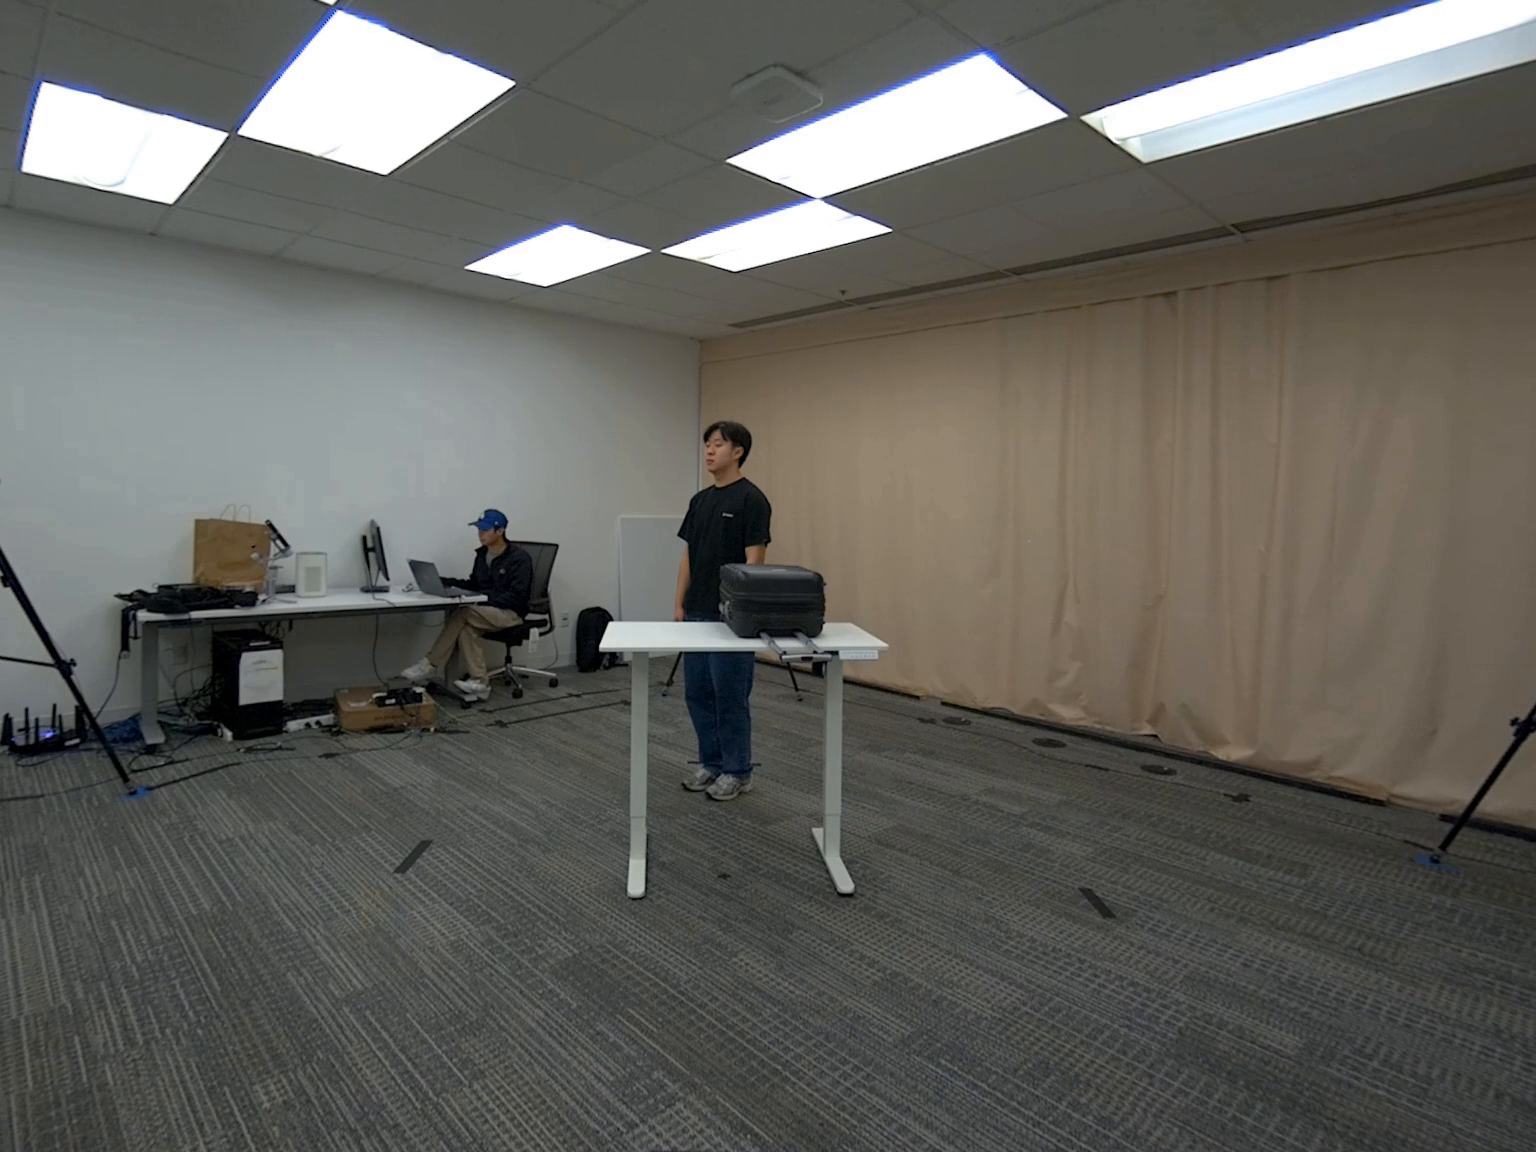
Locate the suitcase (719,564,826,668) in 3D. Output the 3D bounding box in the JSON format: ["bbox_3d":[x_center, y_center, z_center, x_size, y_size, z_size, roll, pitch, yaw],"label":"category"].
[{"bbox_3d":[0.034,0.102,3.096,0.381,0.257,0.986,2,2,-9],"label":"suitcase"}]
